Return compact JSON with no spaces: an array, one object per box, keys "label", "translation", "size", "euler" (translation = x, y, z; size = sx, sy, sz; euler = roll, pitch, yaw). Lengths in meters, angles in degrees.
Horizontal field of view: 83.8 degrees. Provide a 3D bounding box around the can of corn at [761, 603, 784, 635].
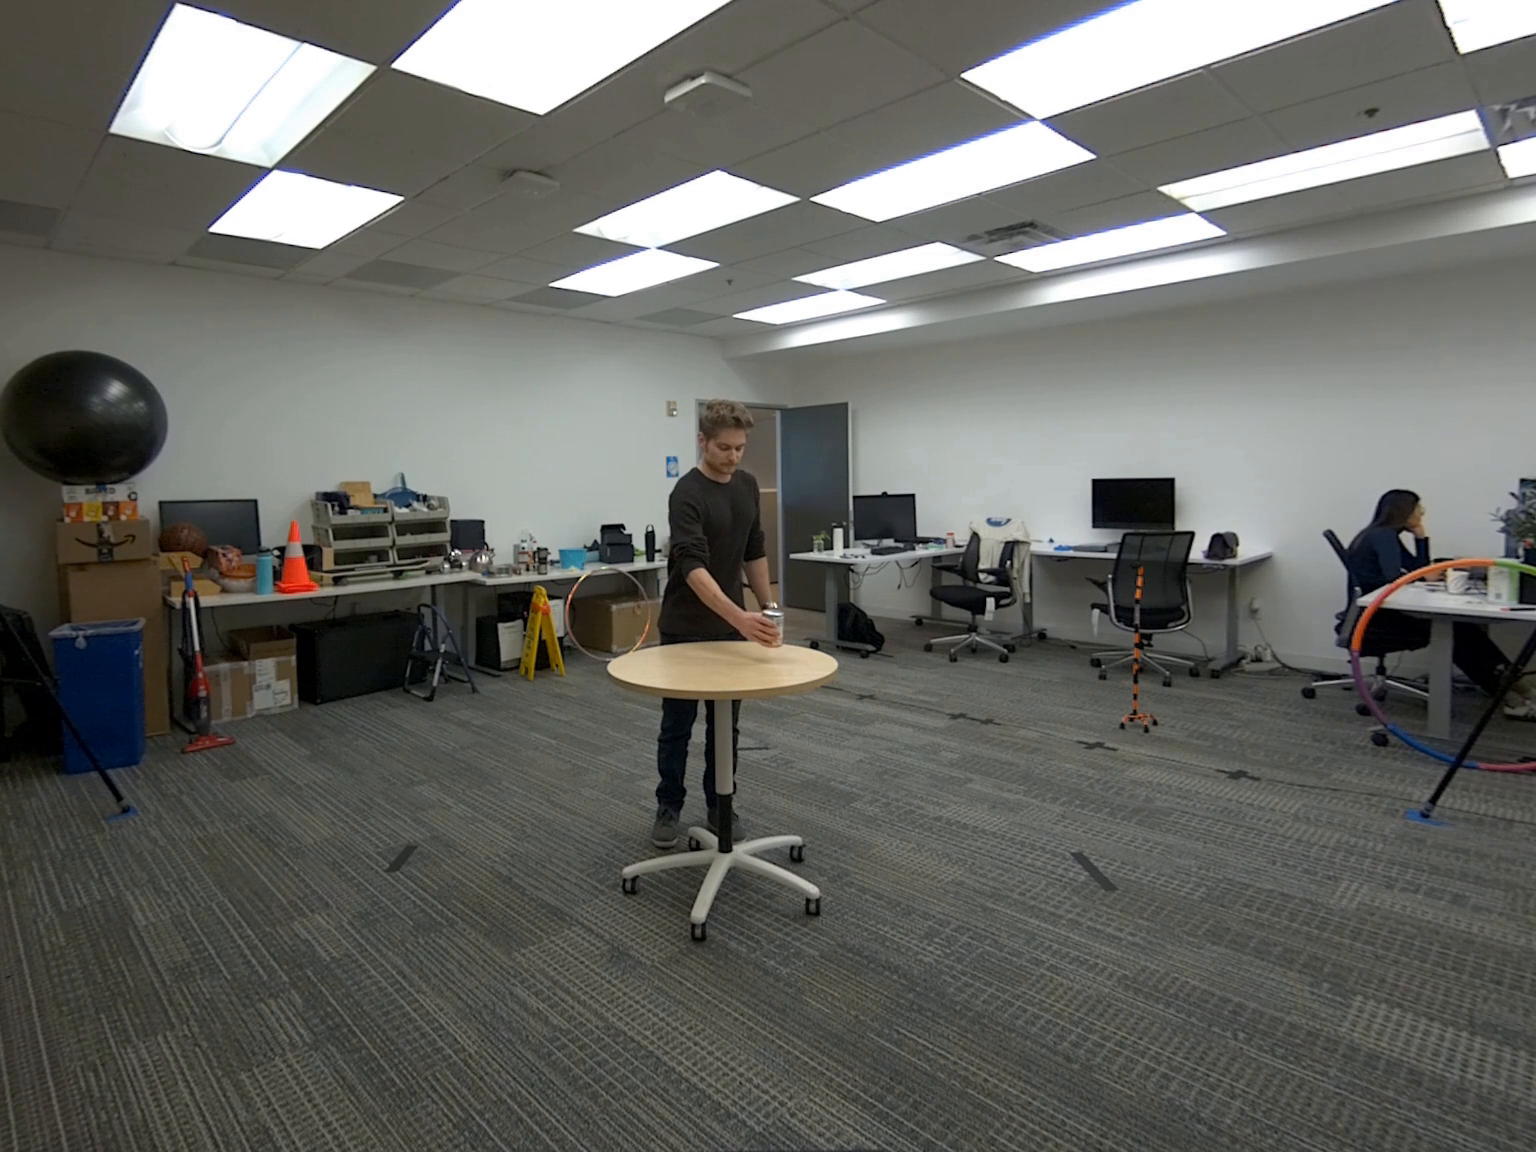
[{"label":"can of corn","translation":[-0.004,0.179,2.857],"size":[0.074,0.110,0.075],"euler":[-1,8,-2]}]
